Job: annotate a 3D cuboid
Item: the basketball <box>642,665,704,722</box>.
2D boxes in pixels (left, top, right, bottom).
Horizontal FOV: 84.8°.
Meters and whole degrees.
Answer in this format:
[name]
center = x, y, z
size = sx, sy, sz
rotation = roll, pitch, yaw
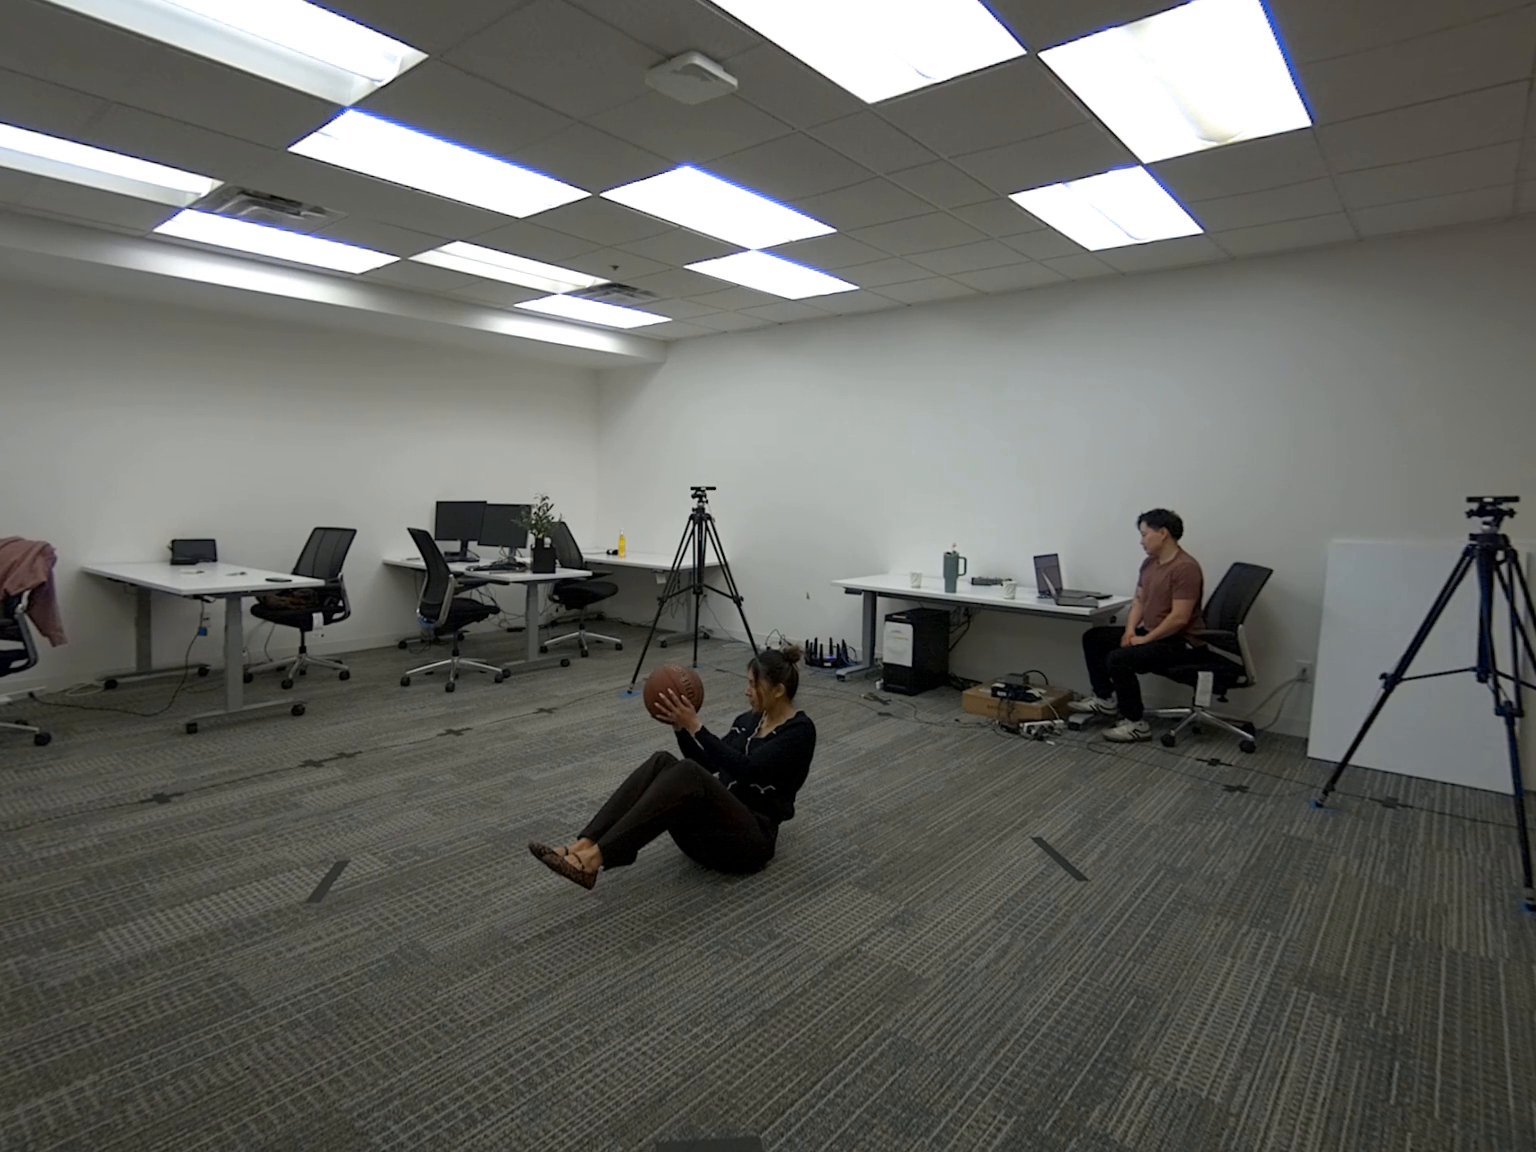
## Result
[basketball]
center = -0.366, 0.465, 3.295
size = 0.235, 0.235, 0.237
rotation = 1, 4, -2
